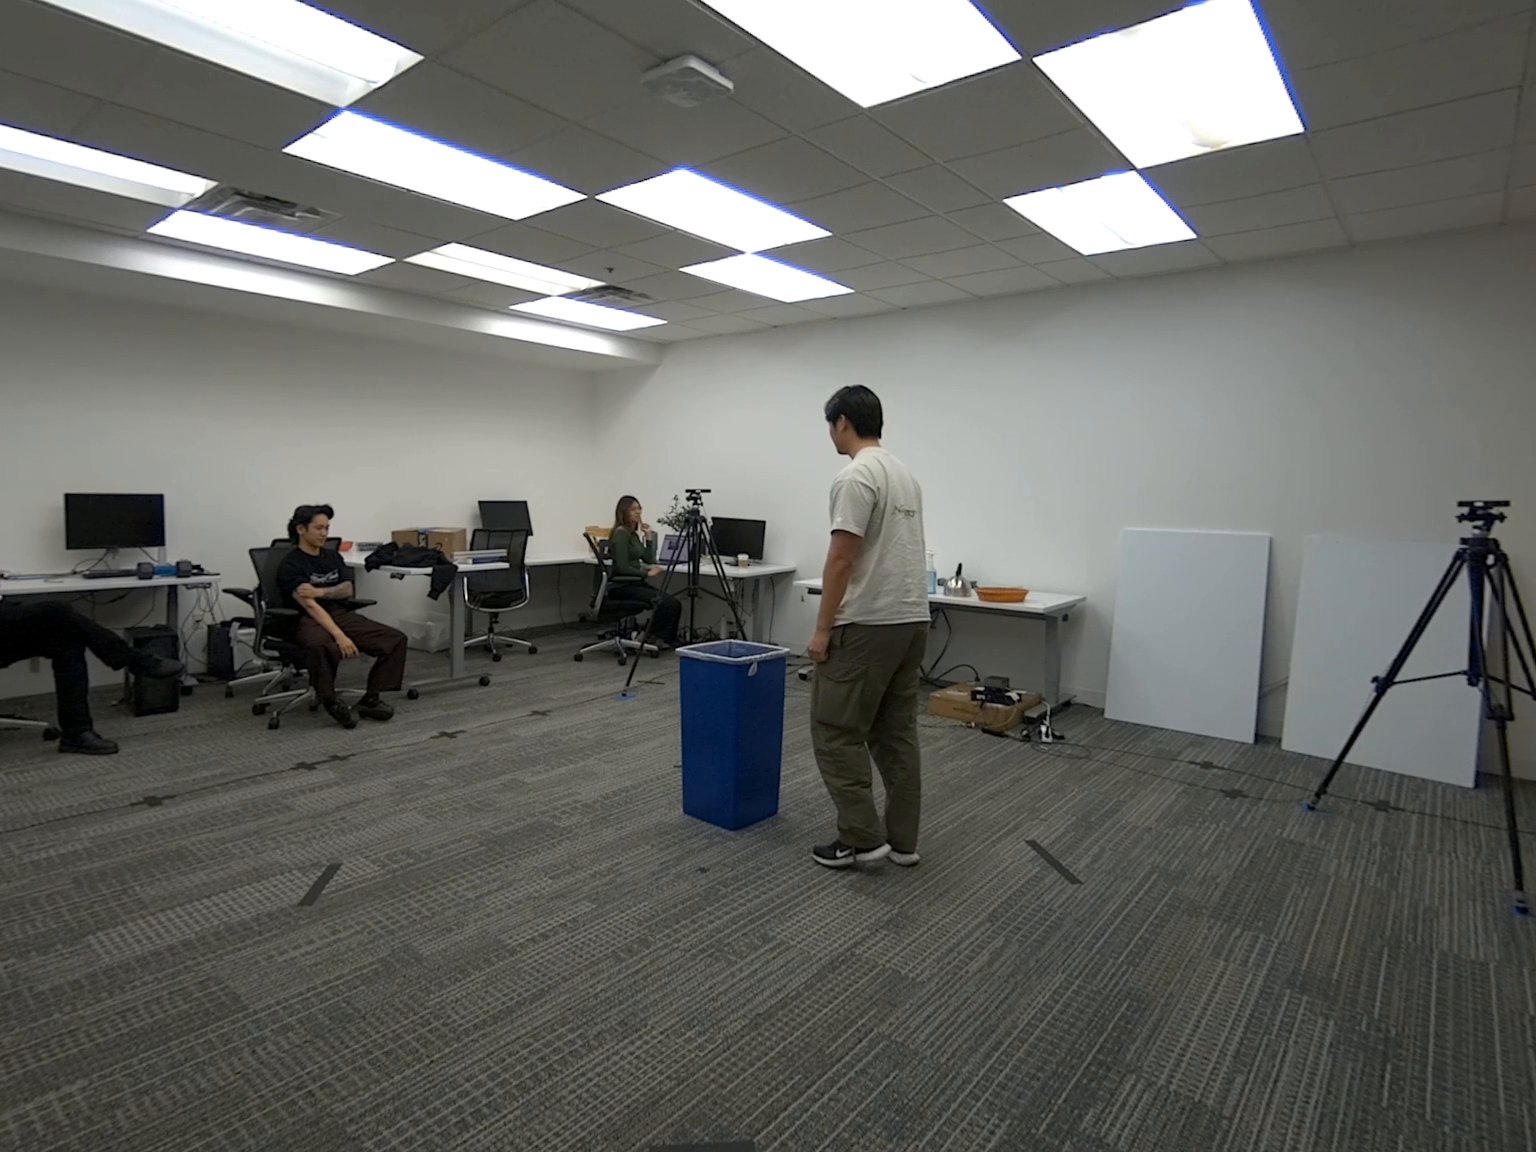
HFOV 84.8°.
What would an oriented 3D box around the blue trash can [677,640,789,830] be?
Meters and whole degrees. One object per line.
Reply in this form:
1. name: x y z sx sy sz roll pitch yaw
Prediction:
1. blue trash can: -0.174 0.664 3.665 0.386 0.712 0.366 4 4 40
